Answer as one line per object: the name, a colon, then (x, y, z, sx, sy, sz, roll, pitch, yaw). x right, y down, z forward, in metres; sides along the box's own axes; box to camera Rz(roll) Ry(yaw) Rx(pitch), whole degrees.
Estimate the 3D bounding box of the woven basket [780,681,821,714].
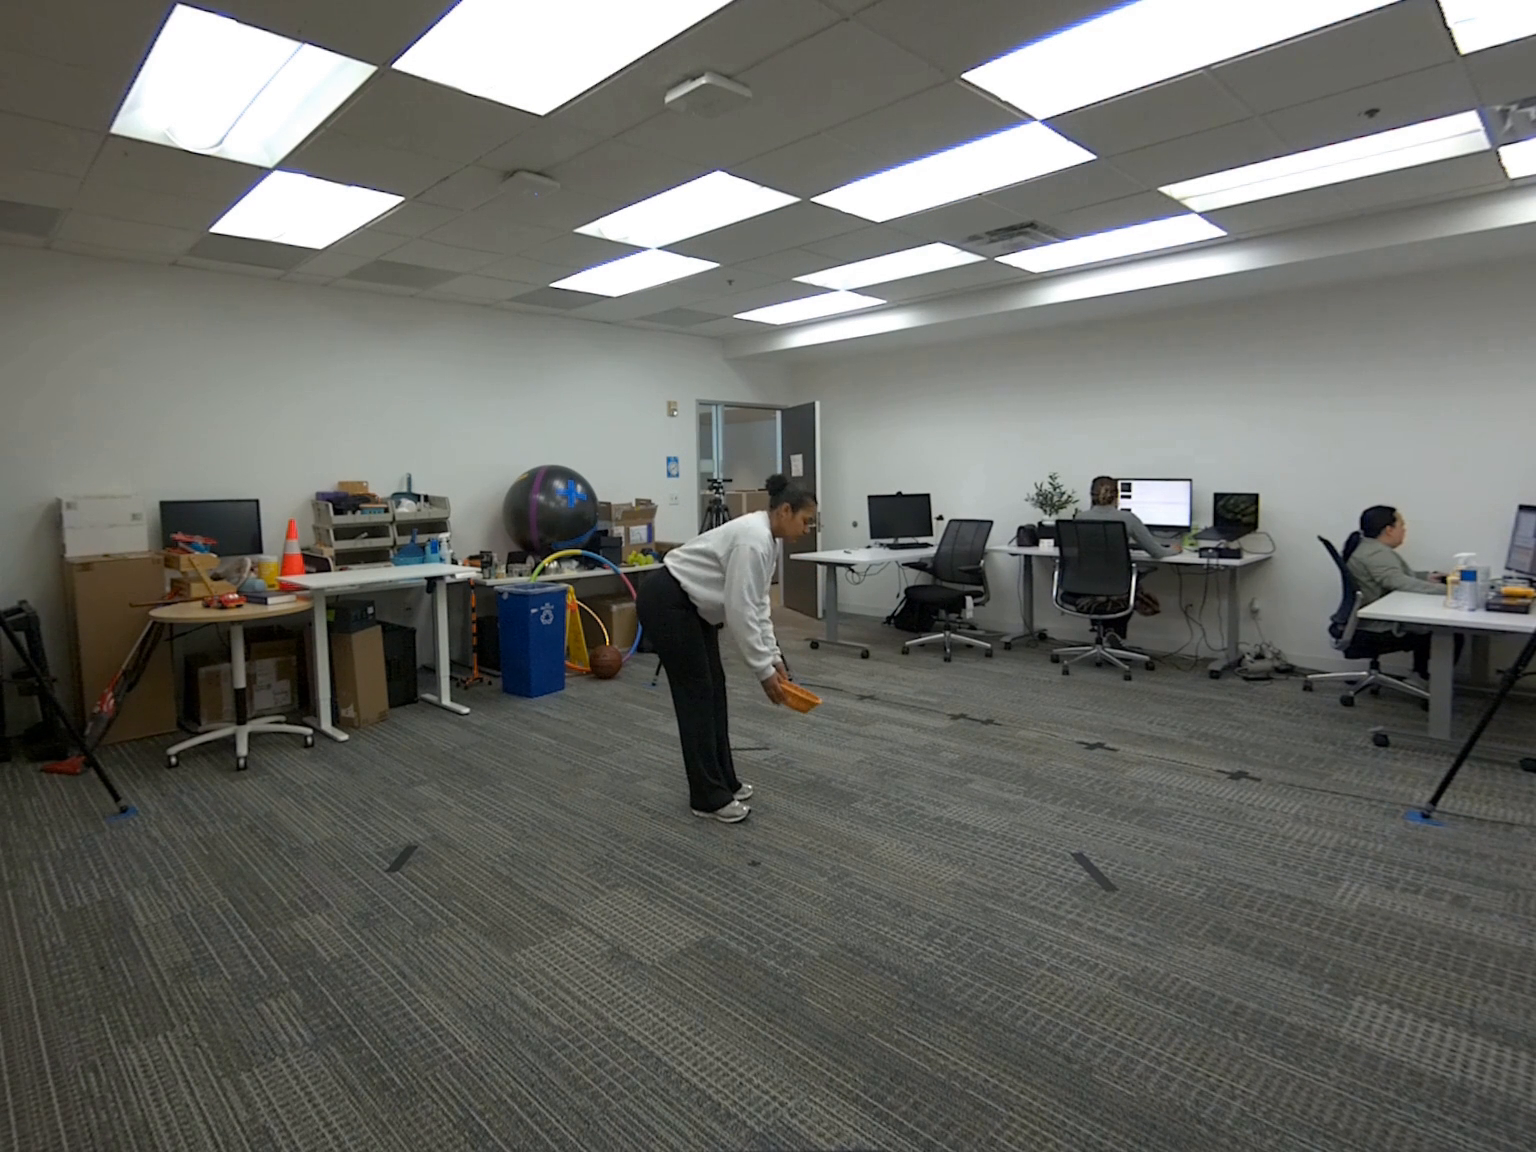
woven basket: (0.077, 0.483, 3.540, 0.261, 0.073, 0.339, 27, 2, 31)
